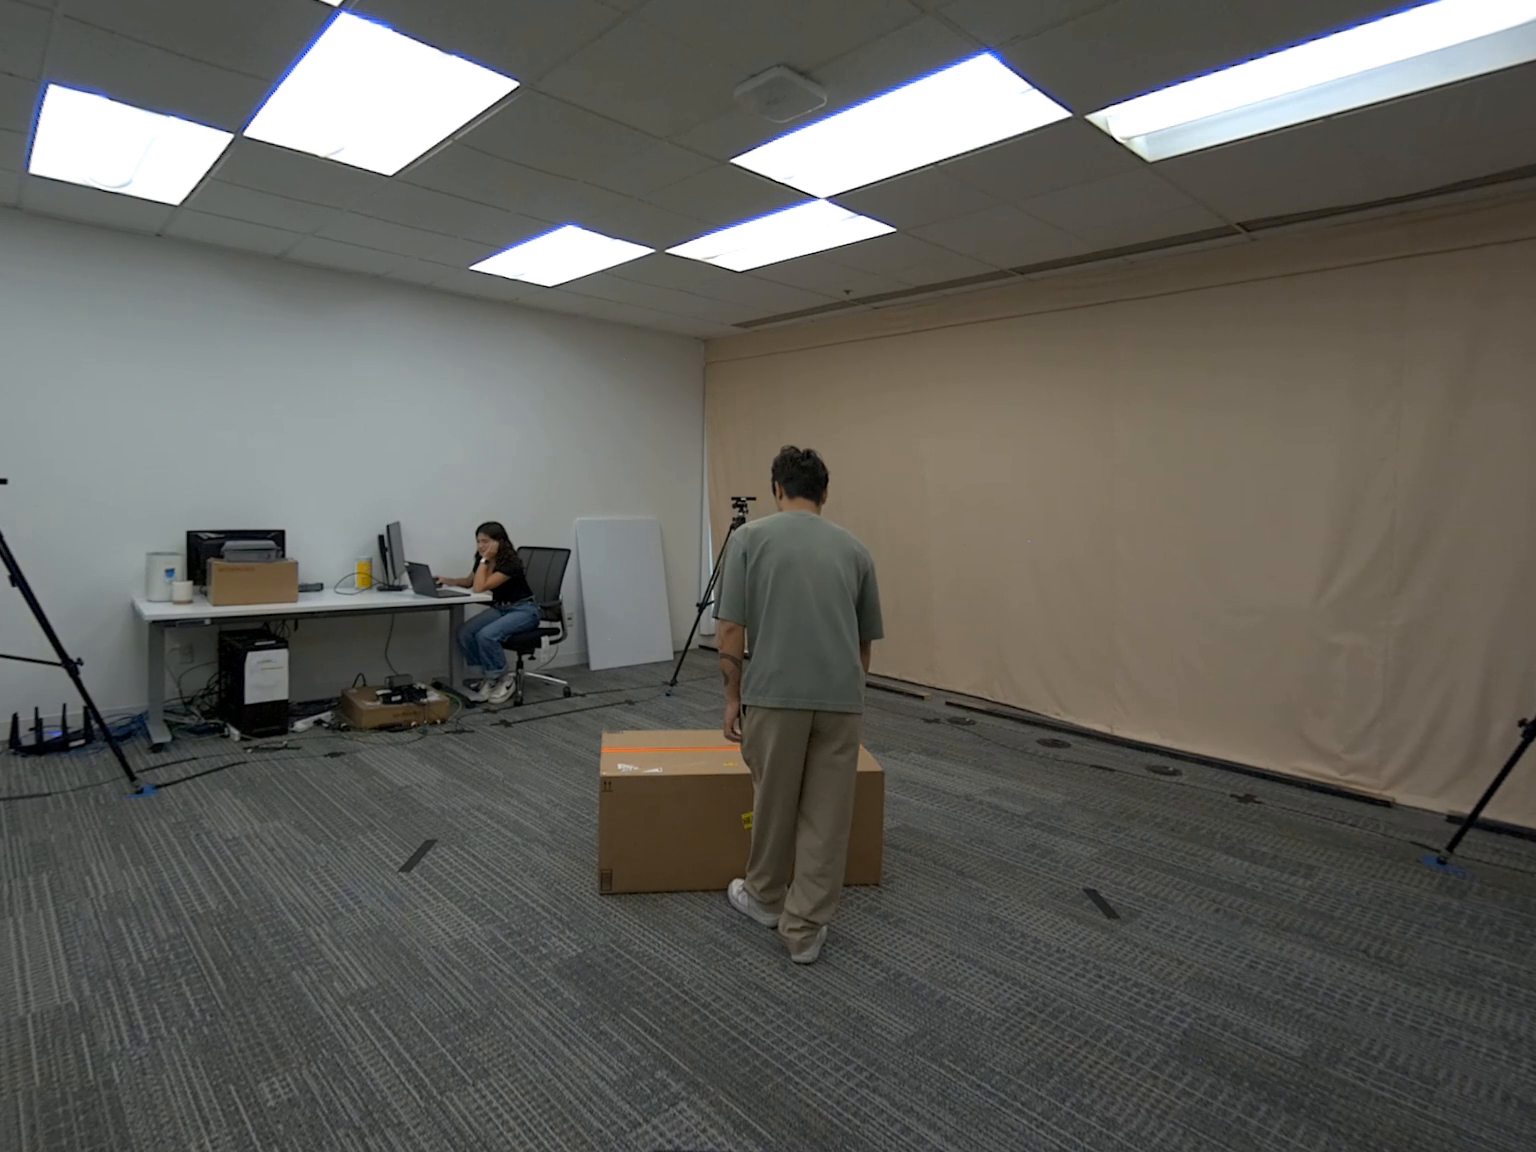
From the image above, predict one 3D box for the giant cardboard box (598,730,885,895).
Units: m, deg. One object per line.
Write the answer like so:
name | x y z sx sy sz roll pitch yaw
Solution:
giant cardboard box | -0.142 0.873 3.266 1.019 0.425 0.583 1 5 -8
